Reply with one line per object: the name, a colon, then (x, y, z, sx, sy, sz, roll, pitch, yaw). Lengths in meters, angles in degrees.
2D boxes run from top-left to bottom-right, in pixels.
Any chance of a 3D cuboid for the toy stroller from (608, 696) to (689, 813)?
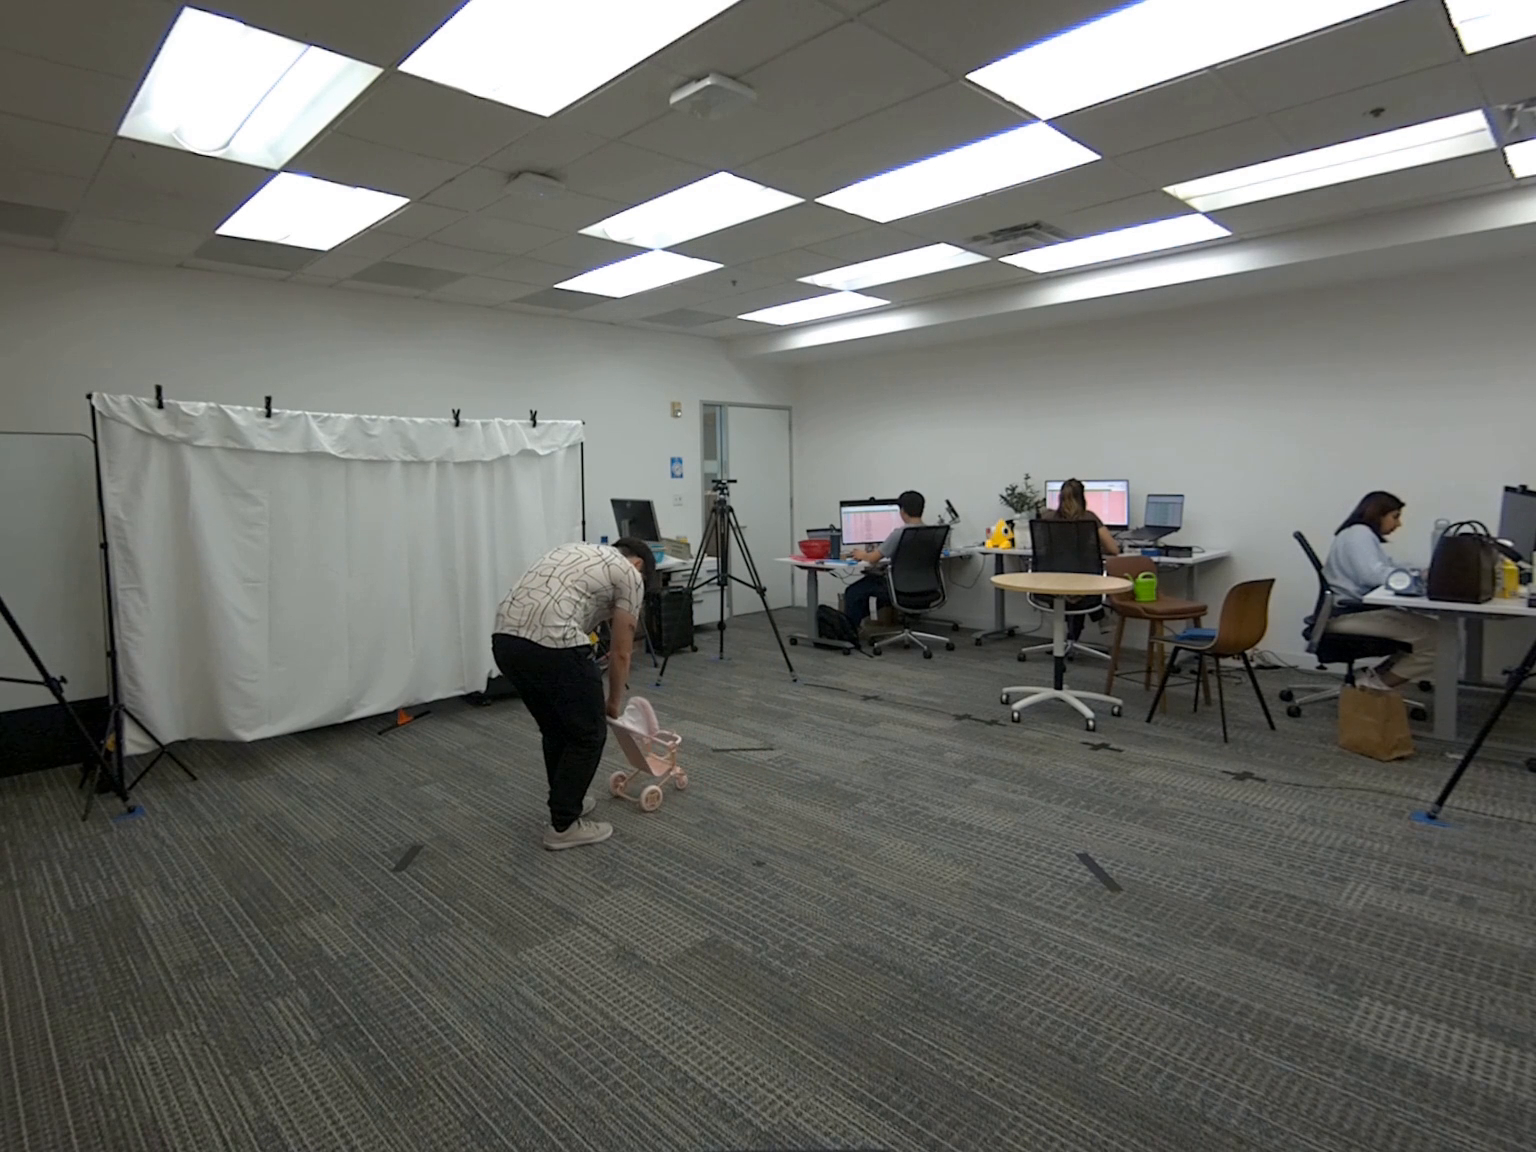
toy stroller: (-0.539, 0.762, 3.750, 0.336, 0.527, 0.290, -24, 17, -34)
